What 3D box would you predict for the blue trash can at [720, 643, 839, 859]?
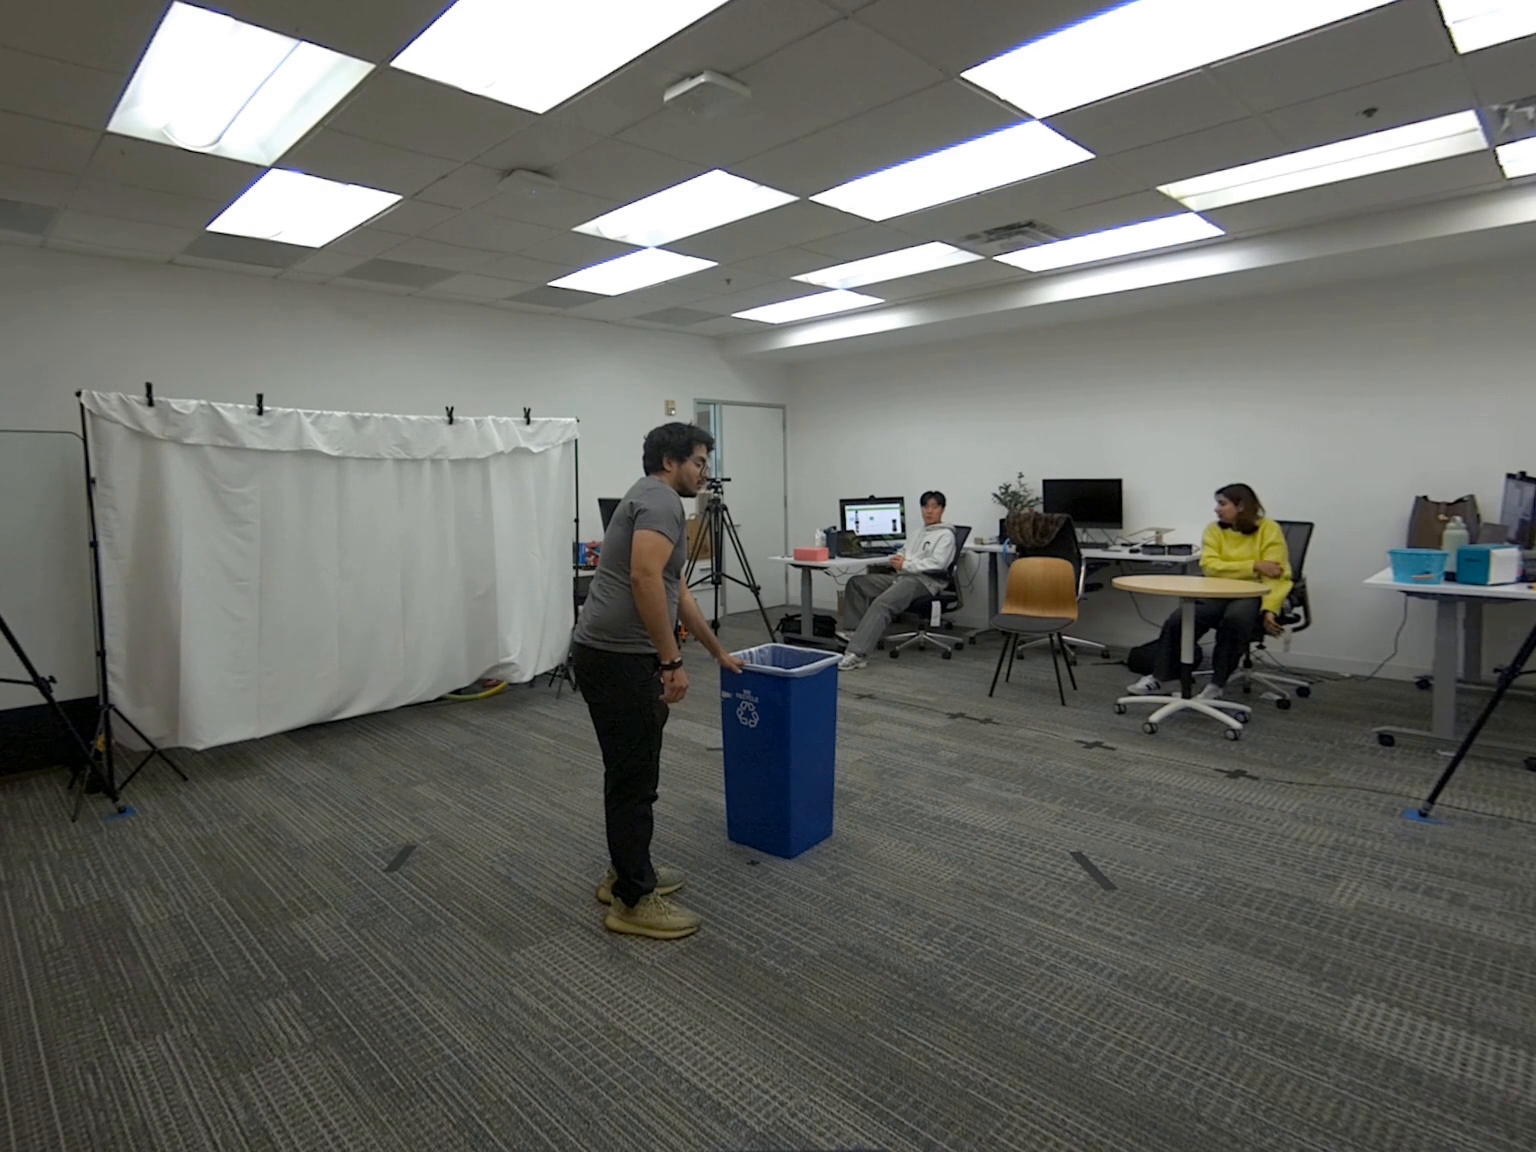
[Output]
[{"bbox_3d":[0.055,0.660,3.302,0.385,0.711,0.368,3,6,38],"label":"blue trash can"}]
